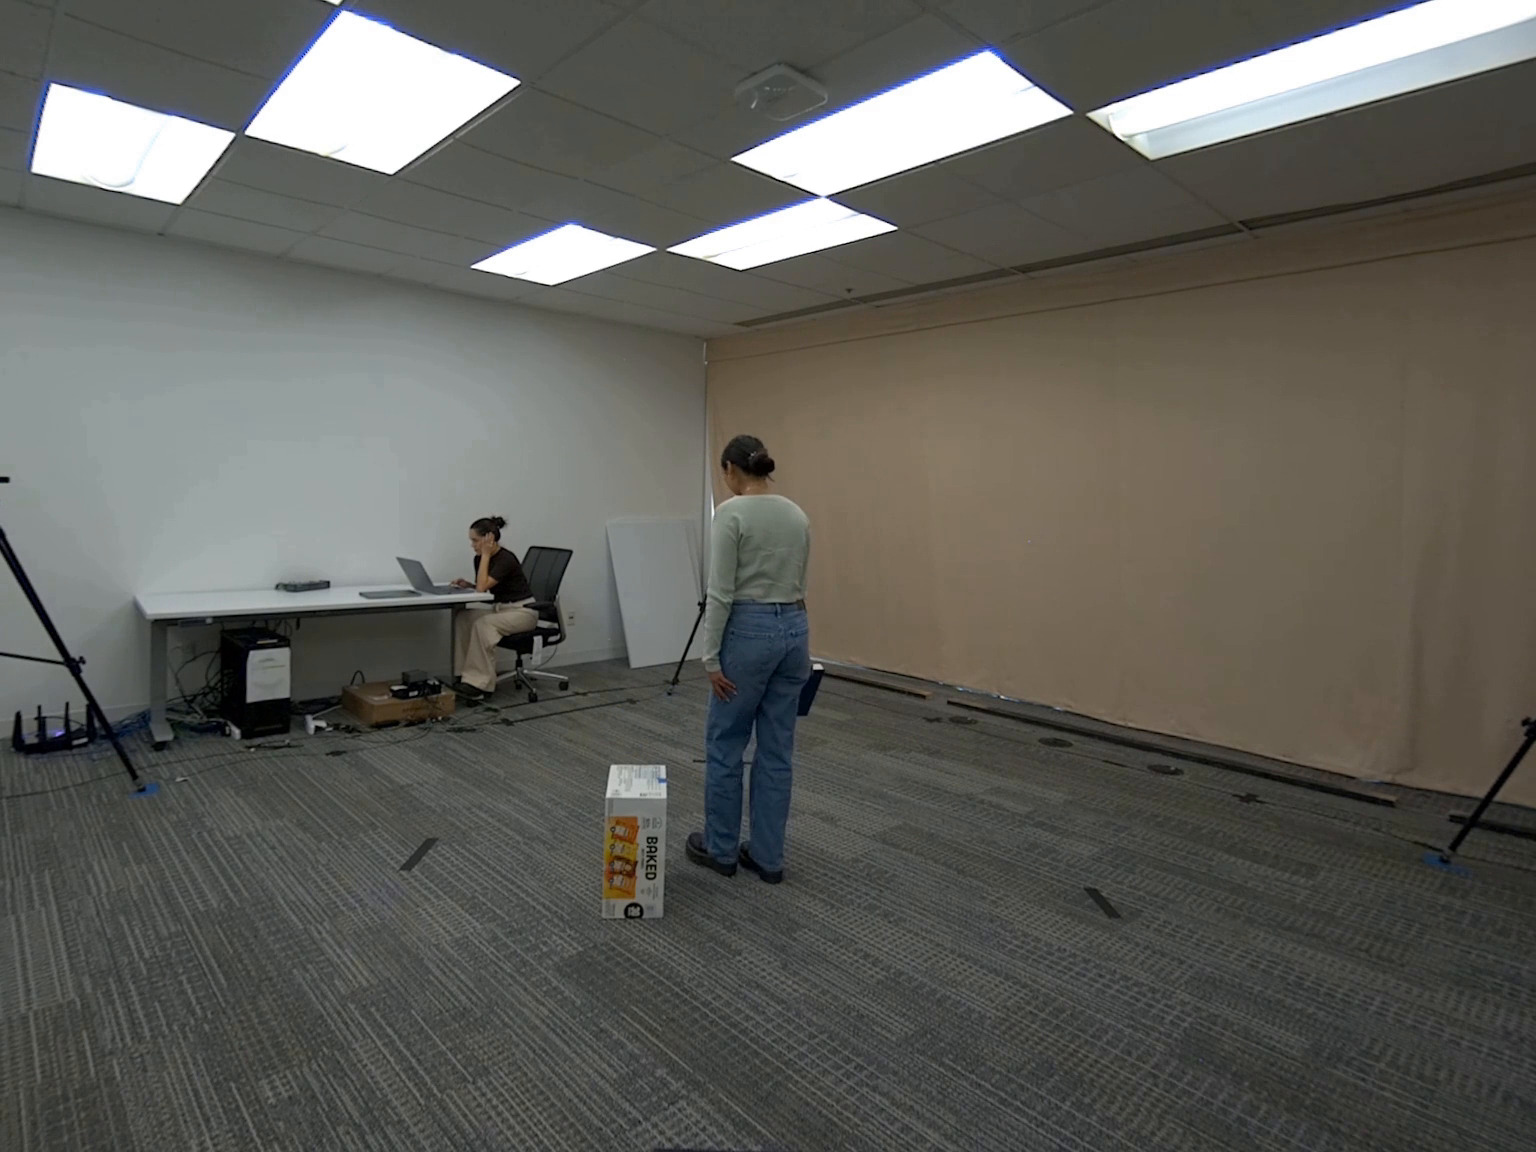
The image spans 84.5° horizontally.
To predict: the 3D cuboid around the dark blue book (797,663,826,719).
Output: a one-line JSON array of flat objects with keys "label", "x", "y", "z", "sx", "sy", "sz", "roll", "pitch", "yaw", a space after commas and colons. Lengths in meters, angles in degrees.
[{"label": "dark blue book", "x": 0.114, "y": 0.463, "z": 3.404, "sx": 0.160, "sy": 0.242, "sz": 0.046, "roll": 2, "pitch": 30, "yaw": -28}]
